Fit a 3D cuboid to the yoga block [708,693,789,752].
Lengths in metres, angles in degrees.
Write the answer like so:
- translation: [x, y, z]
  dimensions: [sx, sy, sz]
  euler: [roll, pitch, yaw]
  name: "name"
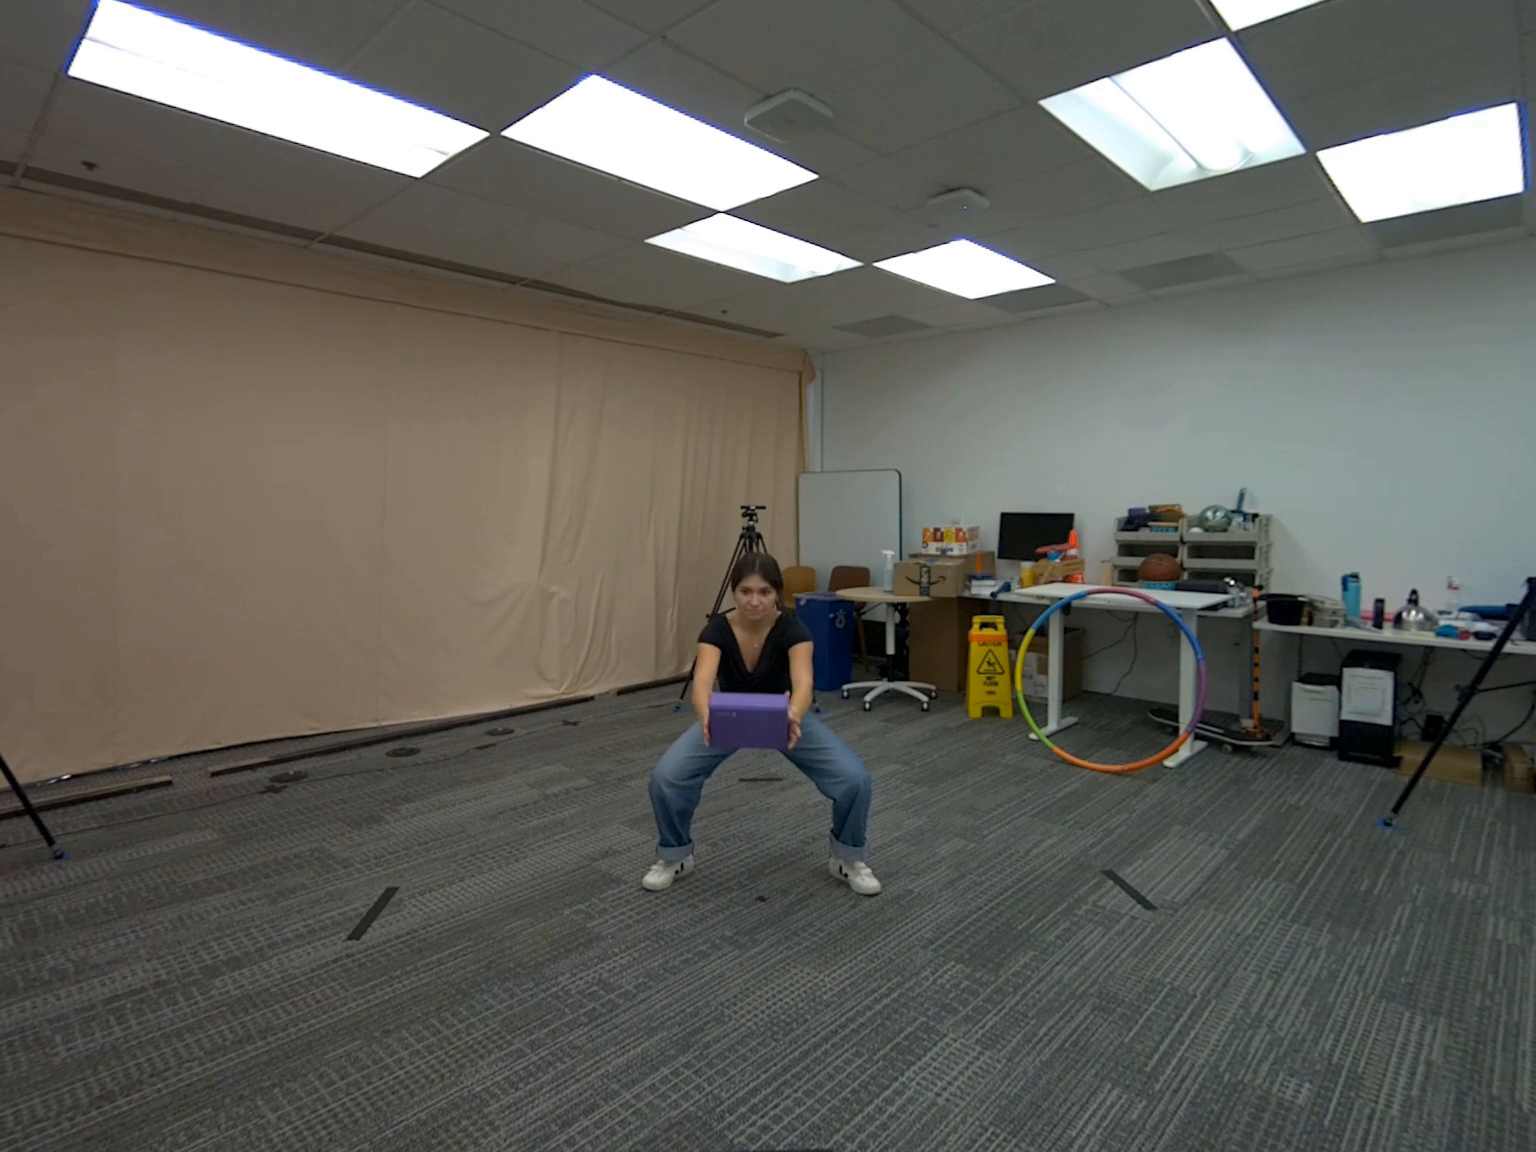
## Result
- translation: [-0.058, 0.408, 2.477]
  dimensions: [0.230, 0.147, 0.077]
  euler: [0, 17, 3]
  name: "yoga block"
